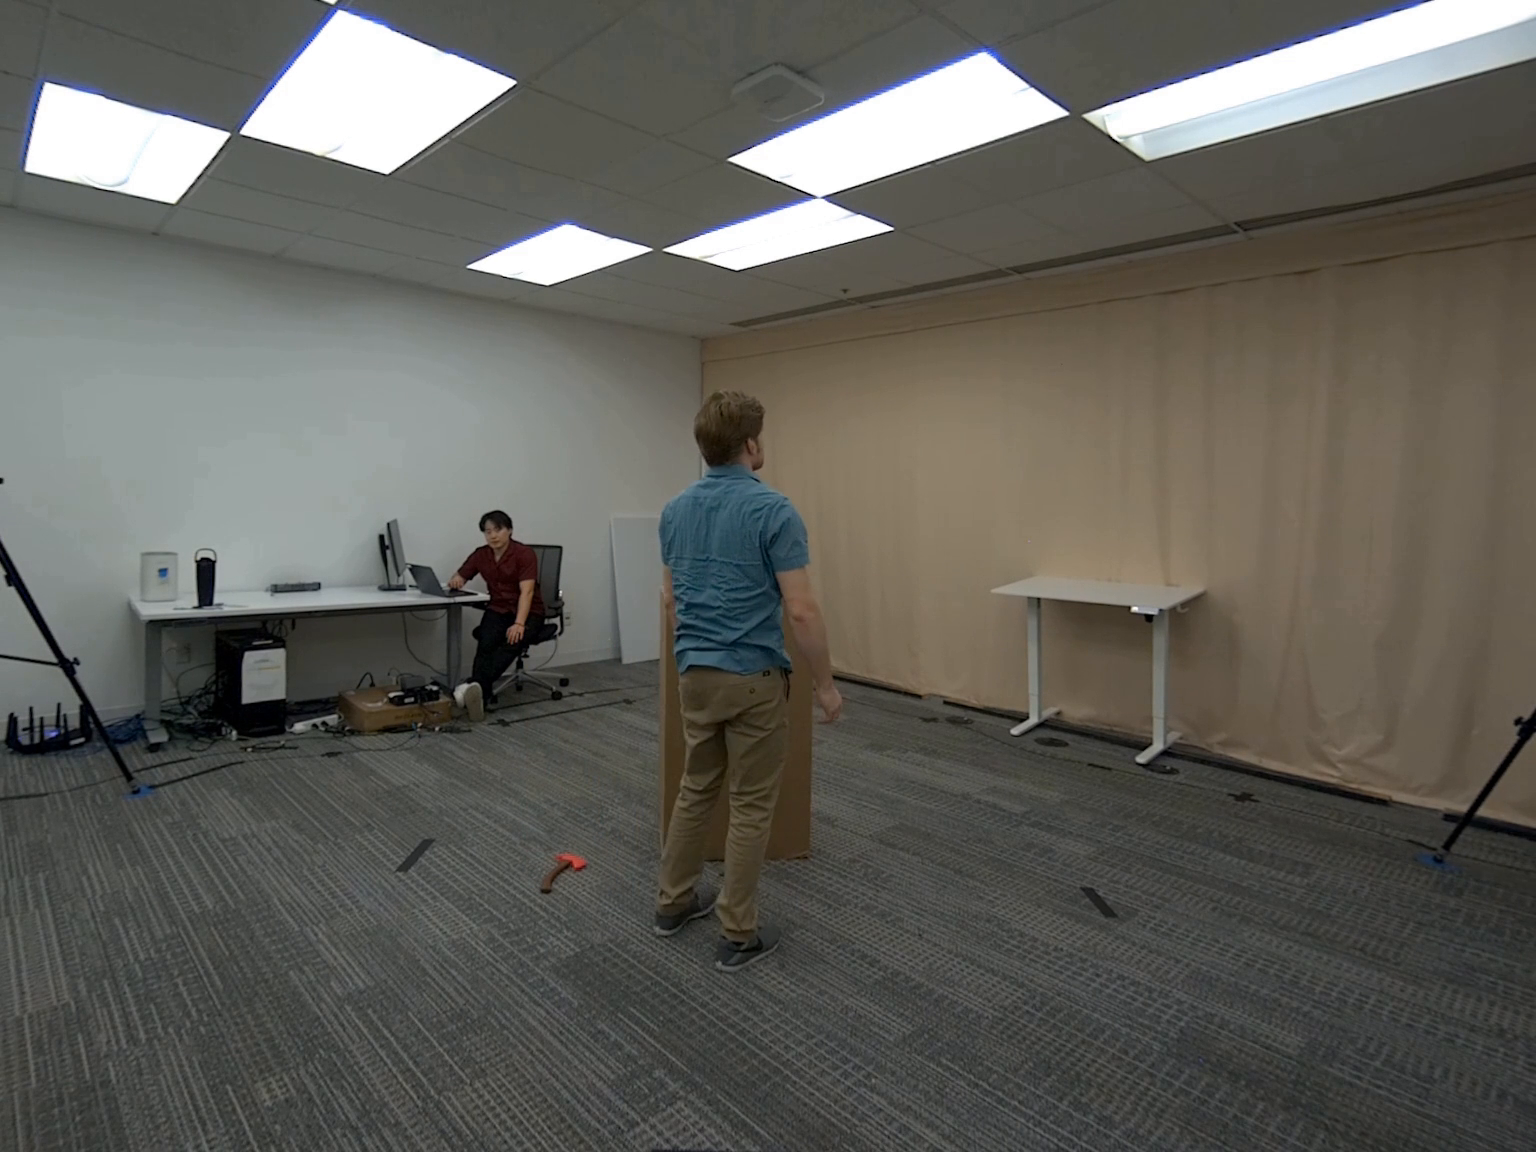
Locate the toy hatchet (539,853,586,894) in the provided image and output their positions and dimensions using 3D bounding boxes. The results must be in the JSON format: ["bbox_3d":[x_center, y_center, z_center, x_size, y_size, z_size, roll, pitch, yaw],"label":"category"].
[{"bbox_3d":[-0.748,1.085,3.057,0.131,0.029,0.272,5,8,-3],"label":"toy hatchet"}]
